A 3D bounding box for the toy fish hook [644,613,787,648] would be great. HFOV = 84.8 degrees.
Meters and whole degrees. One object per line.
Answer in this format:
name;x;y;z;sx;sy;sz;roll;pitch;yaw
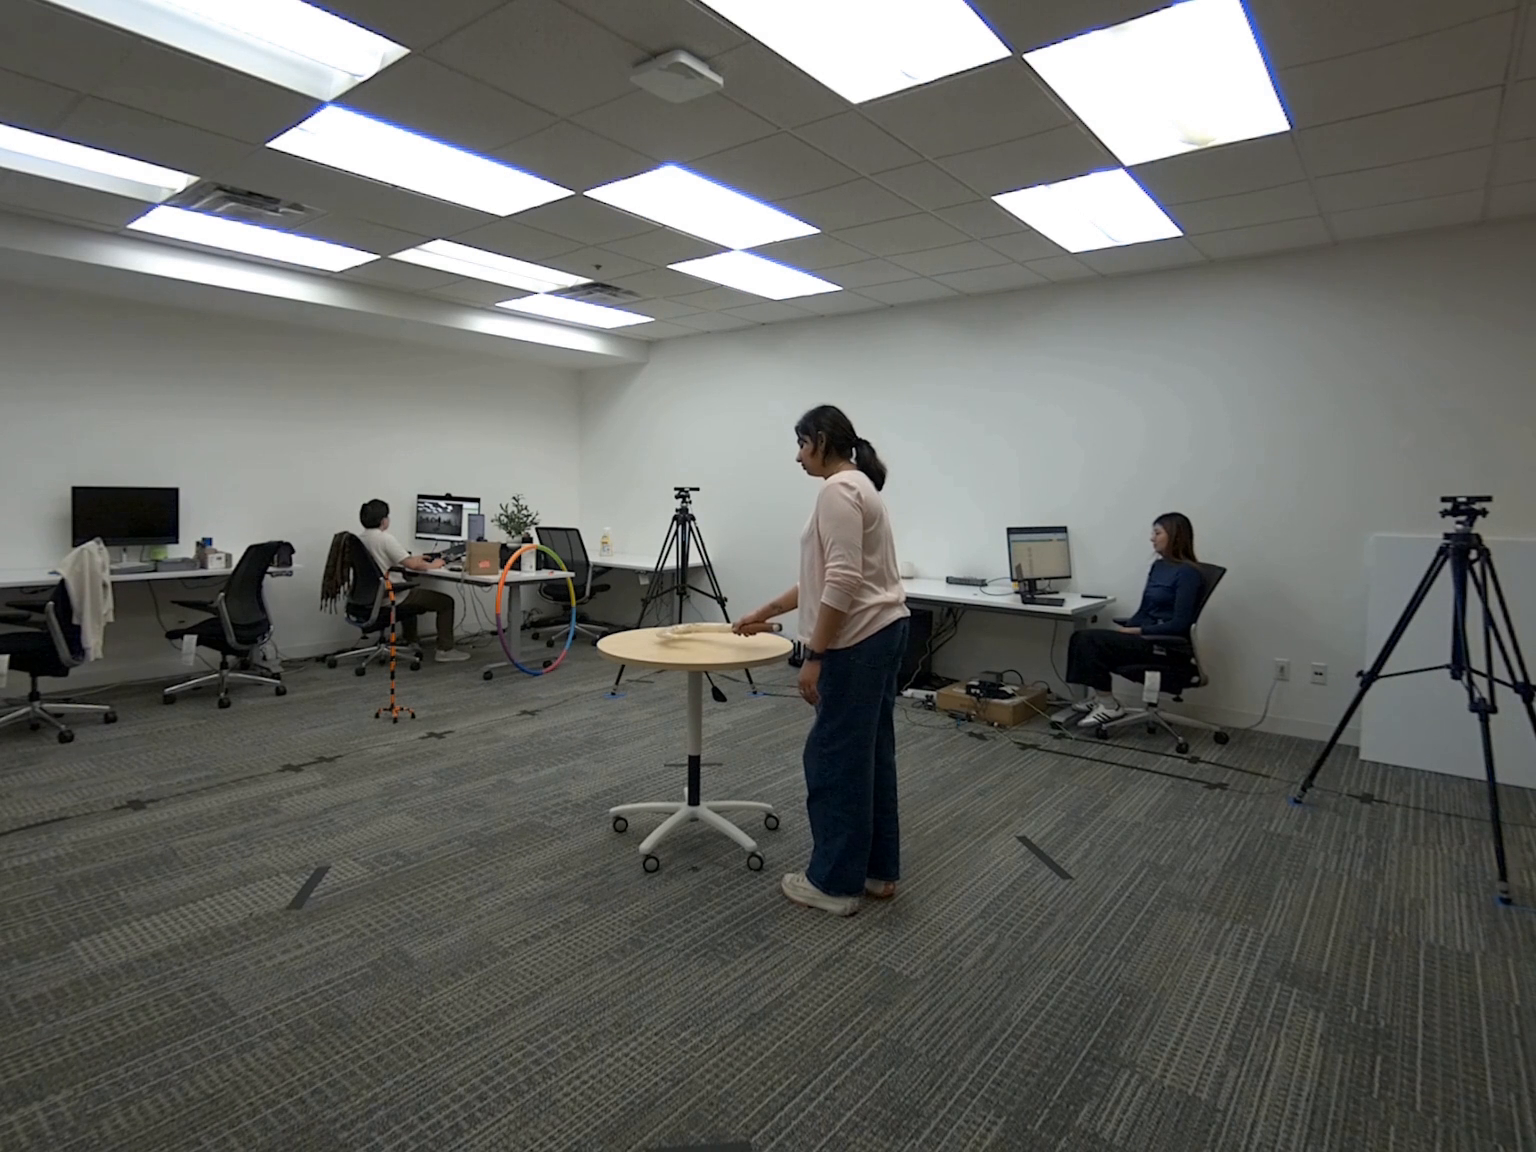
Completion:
toy fish hook;-0.209;0.209;3.255;0.519;0.048;0.221;-6;9;30
